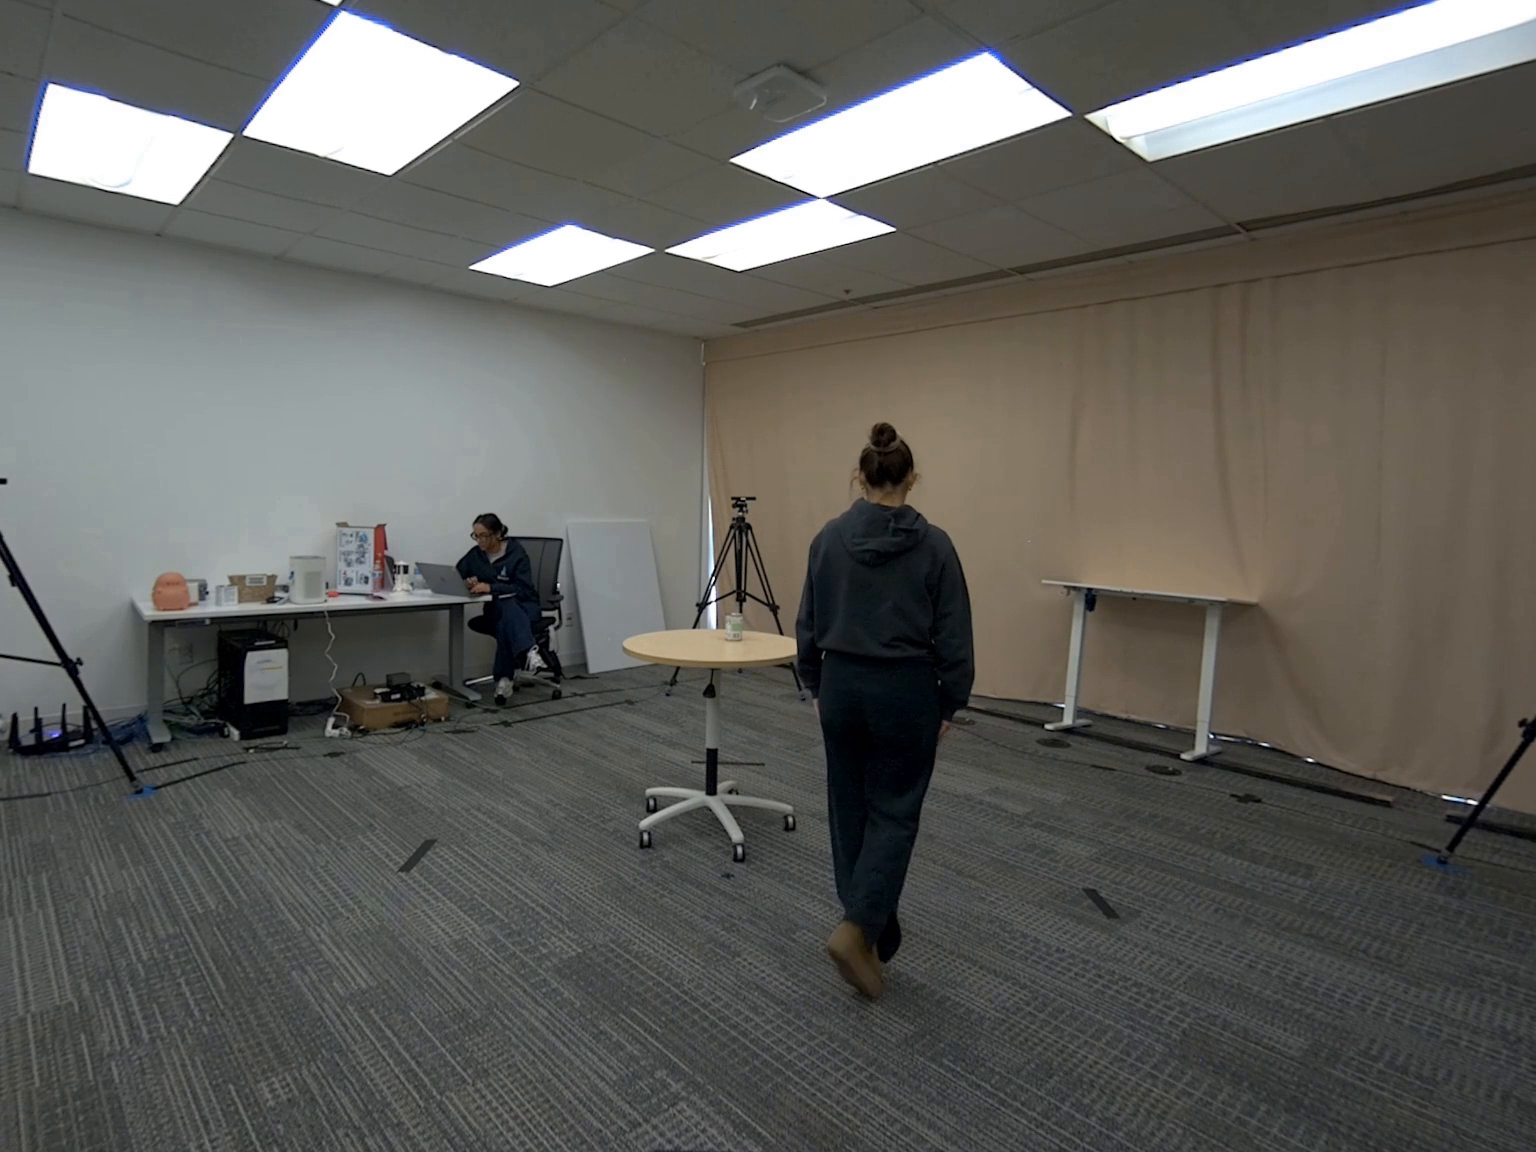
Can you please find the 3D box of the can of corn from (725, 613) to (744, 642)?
[{"bbox_3d":[-0.159,0.223,3.636,0.074,0.111,0.074,6,2,-2],"label":"can of corn"}]
